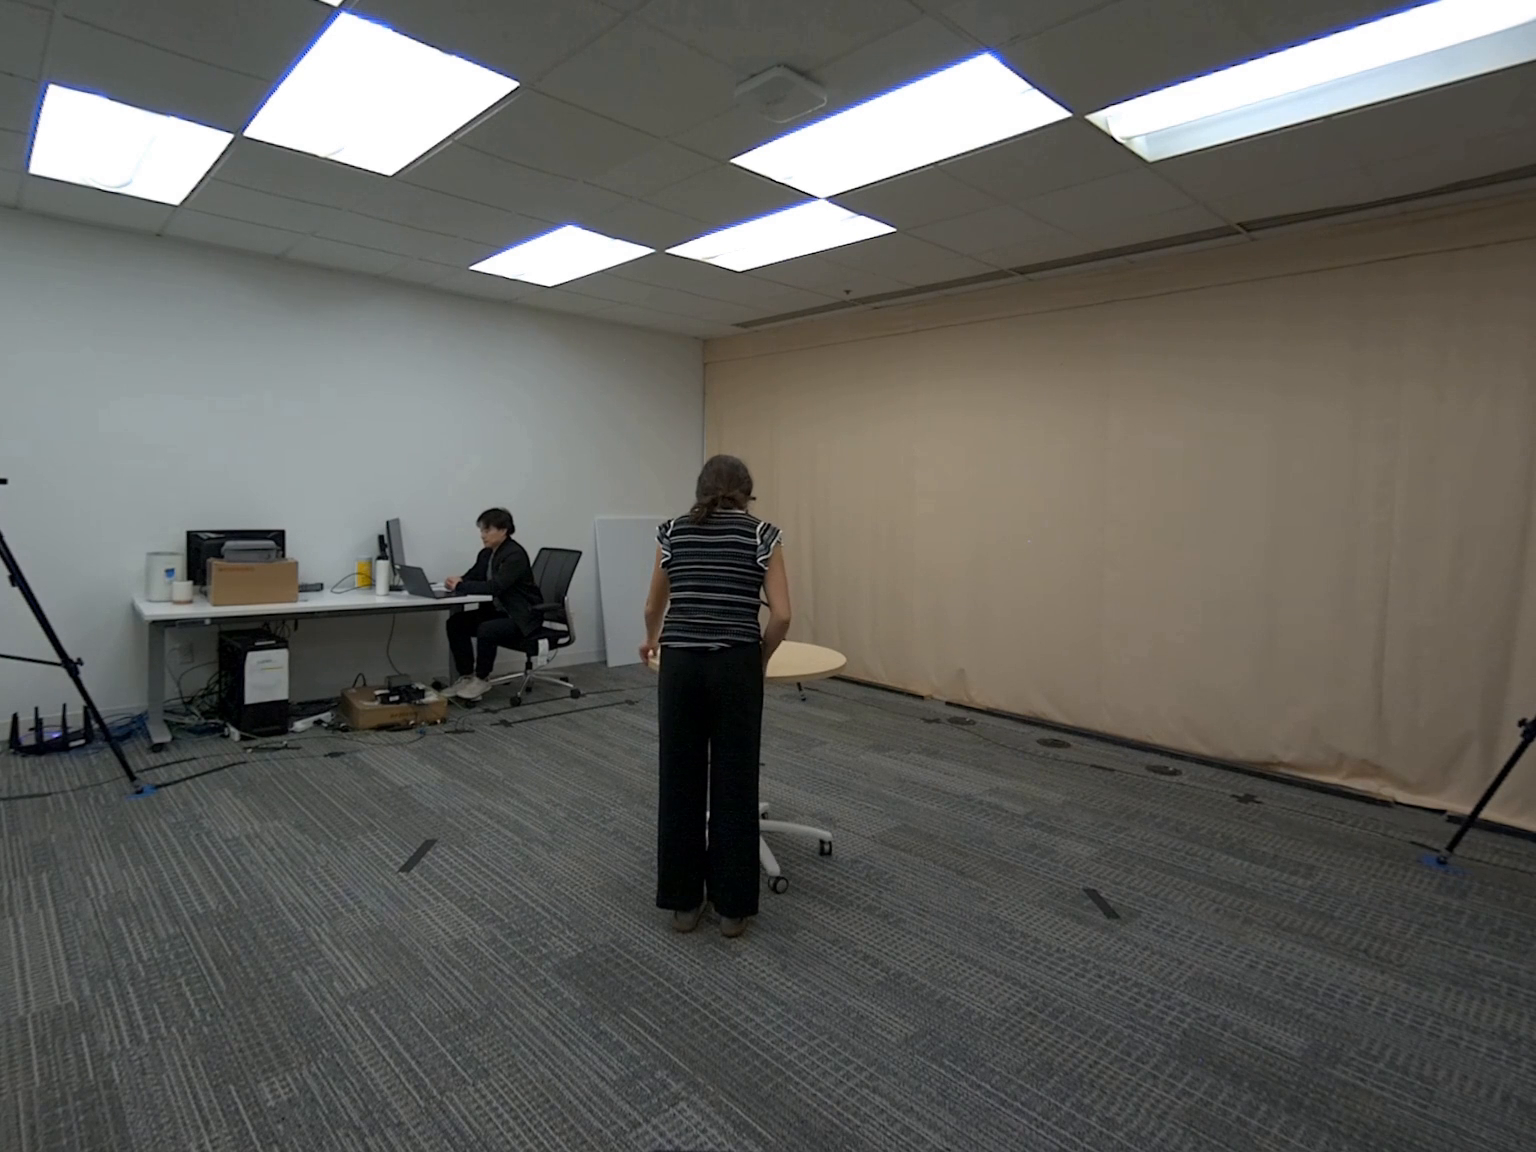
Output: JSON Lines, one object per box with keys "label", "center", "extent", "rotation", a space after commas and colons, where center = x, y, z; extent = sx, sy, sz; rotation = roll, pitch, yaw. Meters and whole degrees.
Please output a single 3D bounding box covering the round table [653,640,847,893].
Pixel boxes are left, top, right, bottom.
{"label": "round table", "center": [-0.109, 0.698, 3.290], "extent": [0.784, 0.784, 0.788], "rotation": [1, 4, -1]}
